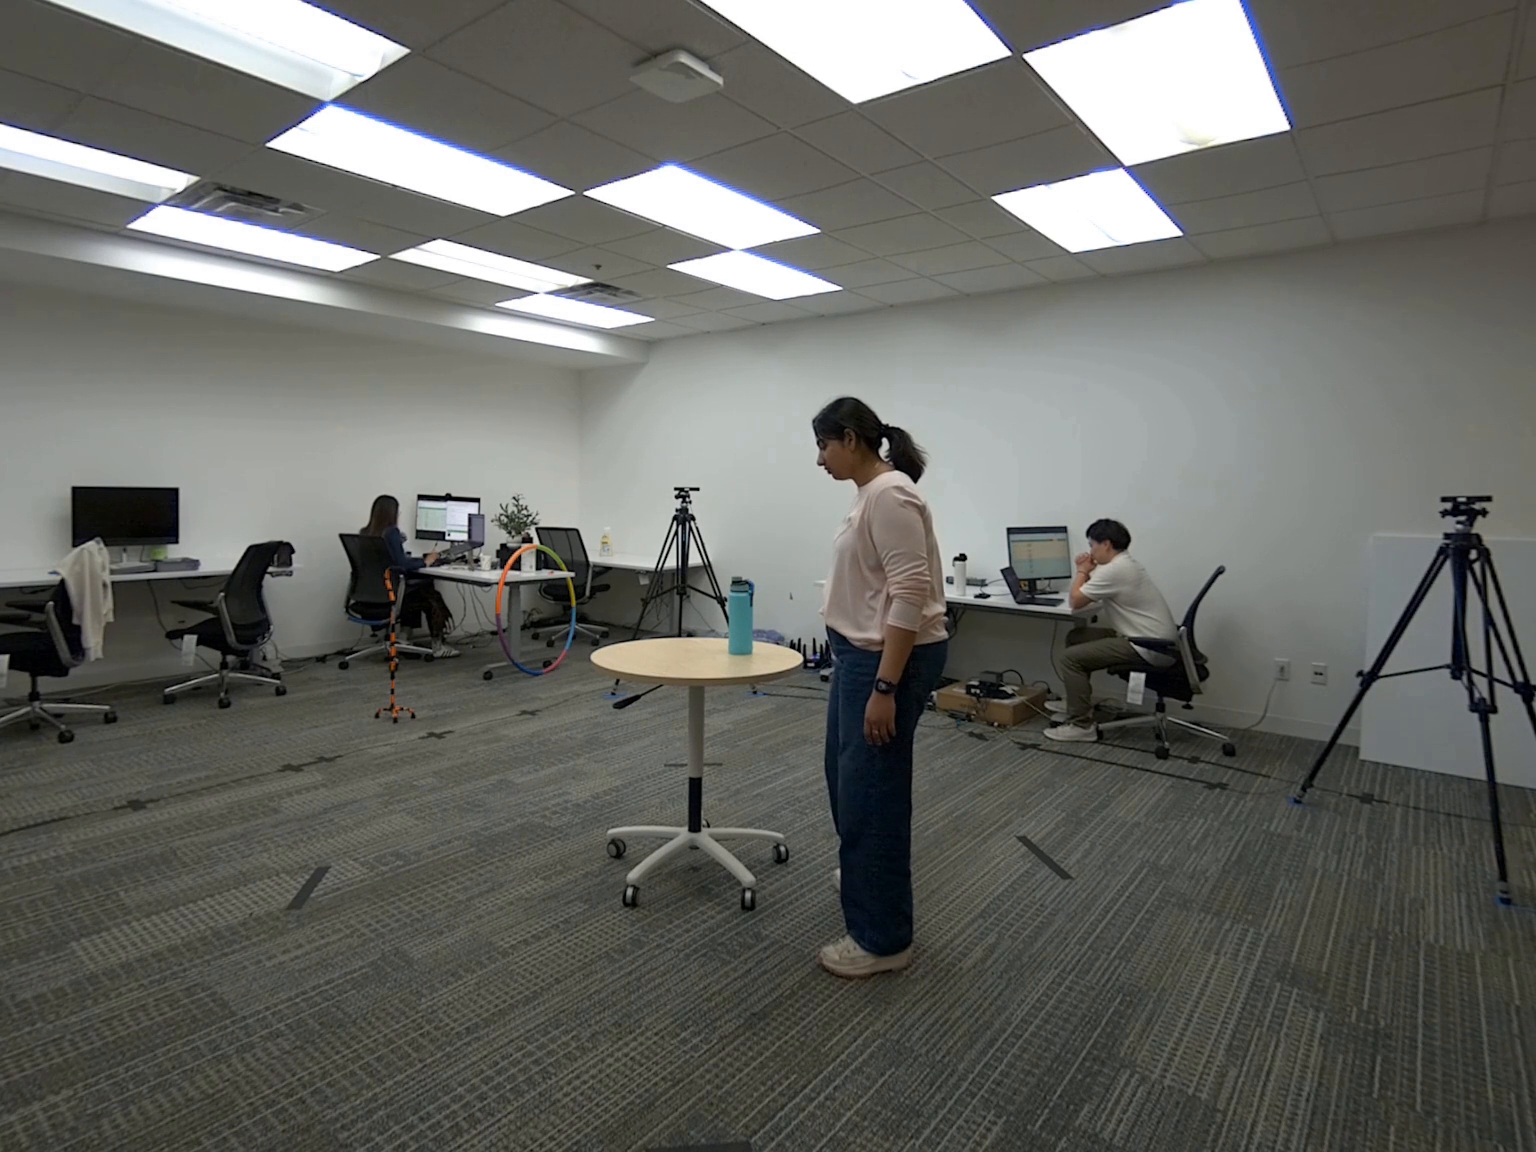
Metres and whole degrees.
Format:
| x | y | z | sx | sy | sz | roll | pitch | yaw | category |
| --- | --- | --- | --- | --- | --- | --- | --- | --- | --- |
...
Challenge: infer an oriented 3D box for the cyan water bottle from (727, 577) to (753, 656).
| x | y | z | sx | sy | sz | roll | pitch | yaw | category |
| --- | --- | --- | --- | --- | --- | --- | --- | --- | --- |
| -0.103 | 0.143 | 3.134 | 0.092 | 0.283 | 0.092 | 2 | 1 | -2 | cyan water bottle |
